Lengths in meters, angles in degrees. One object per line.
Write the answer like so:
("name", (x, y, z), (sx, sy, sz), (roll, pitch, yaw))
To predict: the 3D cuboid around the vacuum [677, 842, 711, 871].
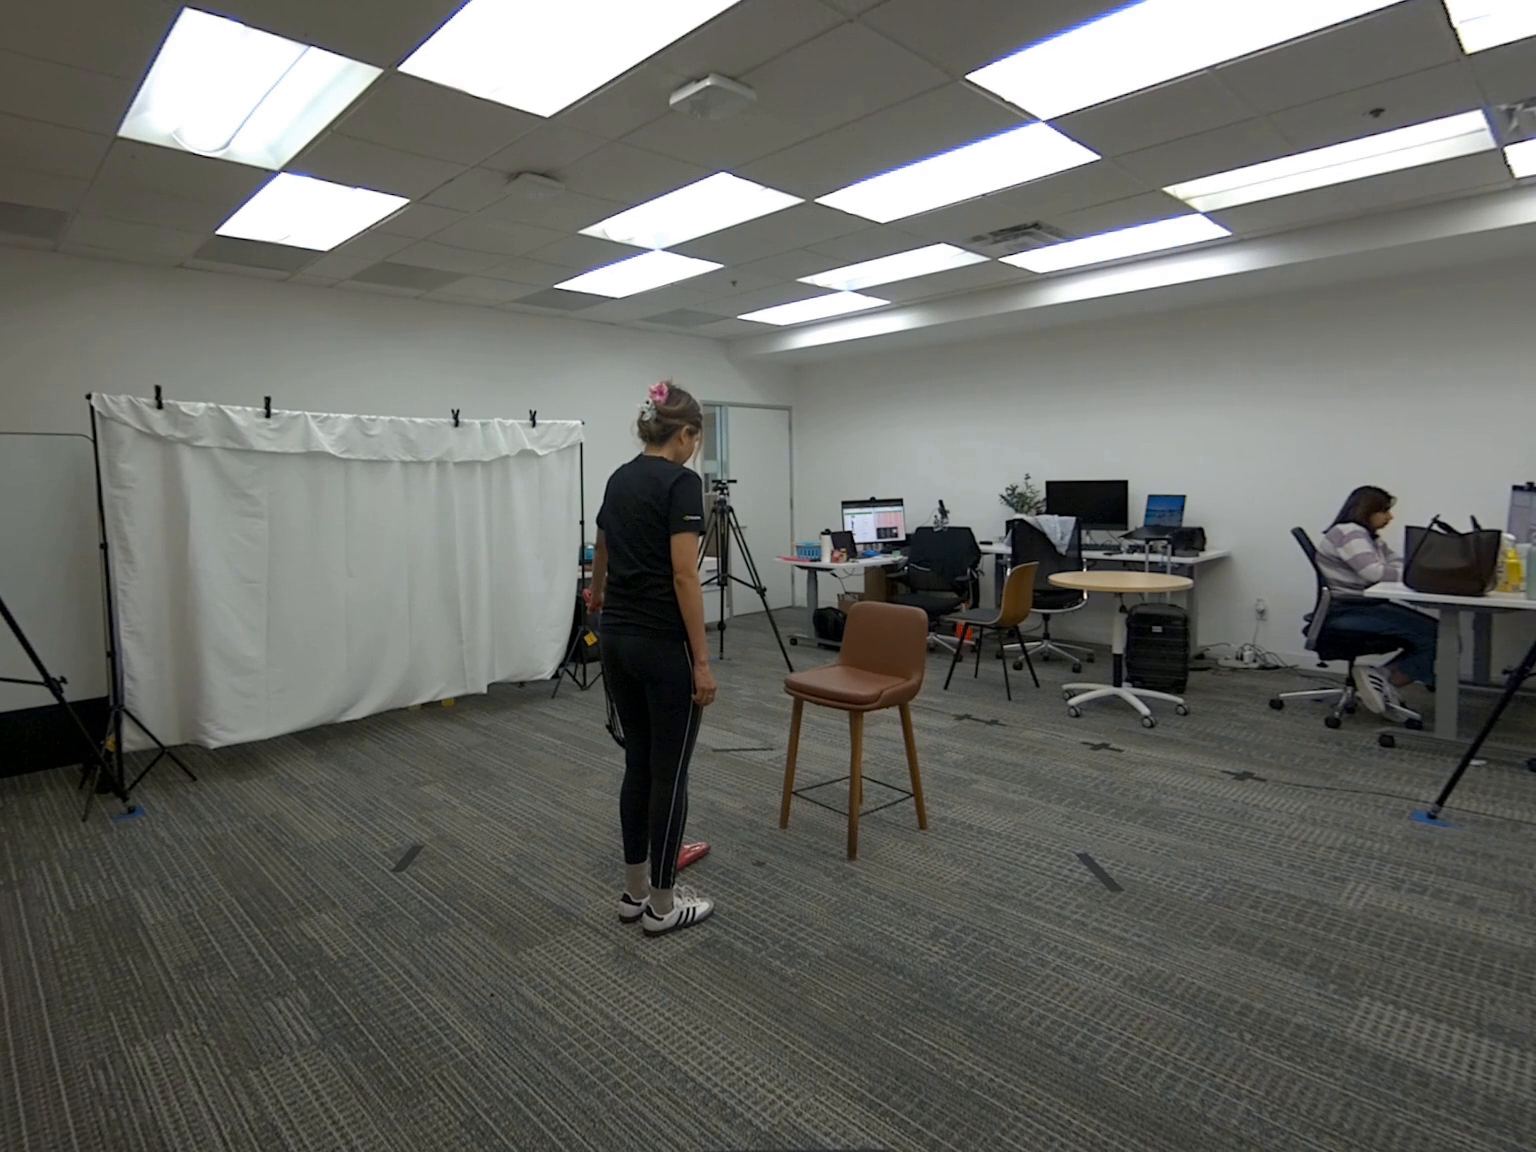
("vacuum", (-0.521, 0.563, 3.242), (0.145, 1.064, 0.246), (-31, -15, 39))
